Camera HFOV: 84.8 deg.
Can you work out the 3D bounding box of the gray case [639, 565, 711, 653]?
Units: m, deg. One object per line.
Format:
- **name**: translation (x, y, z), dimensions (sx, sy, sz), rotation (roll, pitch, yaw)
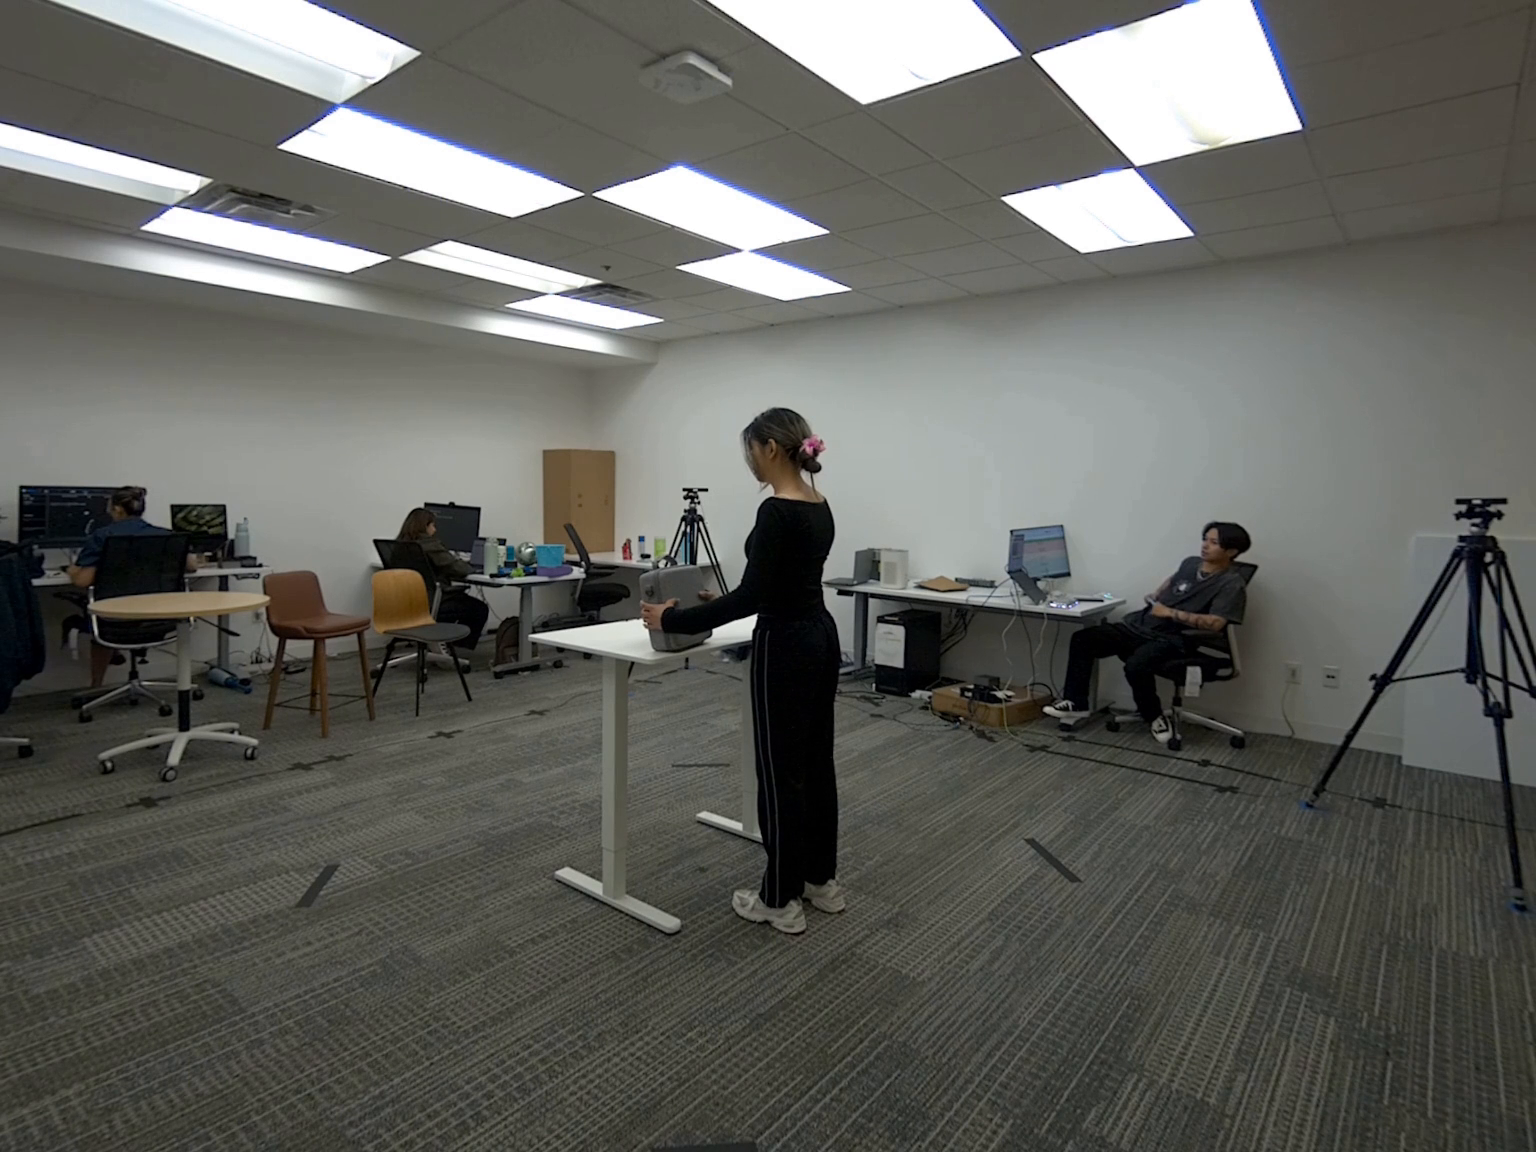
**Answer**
- **gray case**: translation (-0.297, 0.094, 2.719), dimensions (0.106, 0.261, 0.251), rotation (-12, -2, 28)
